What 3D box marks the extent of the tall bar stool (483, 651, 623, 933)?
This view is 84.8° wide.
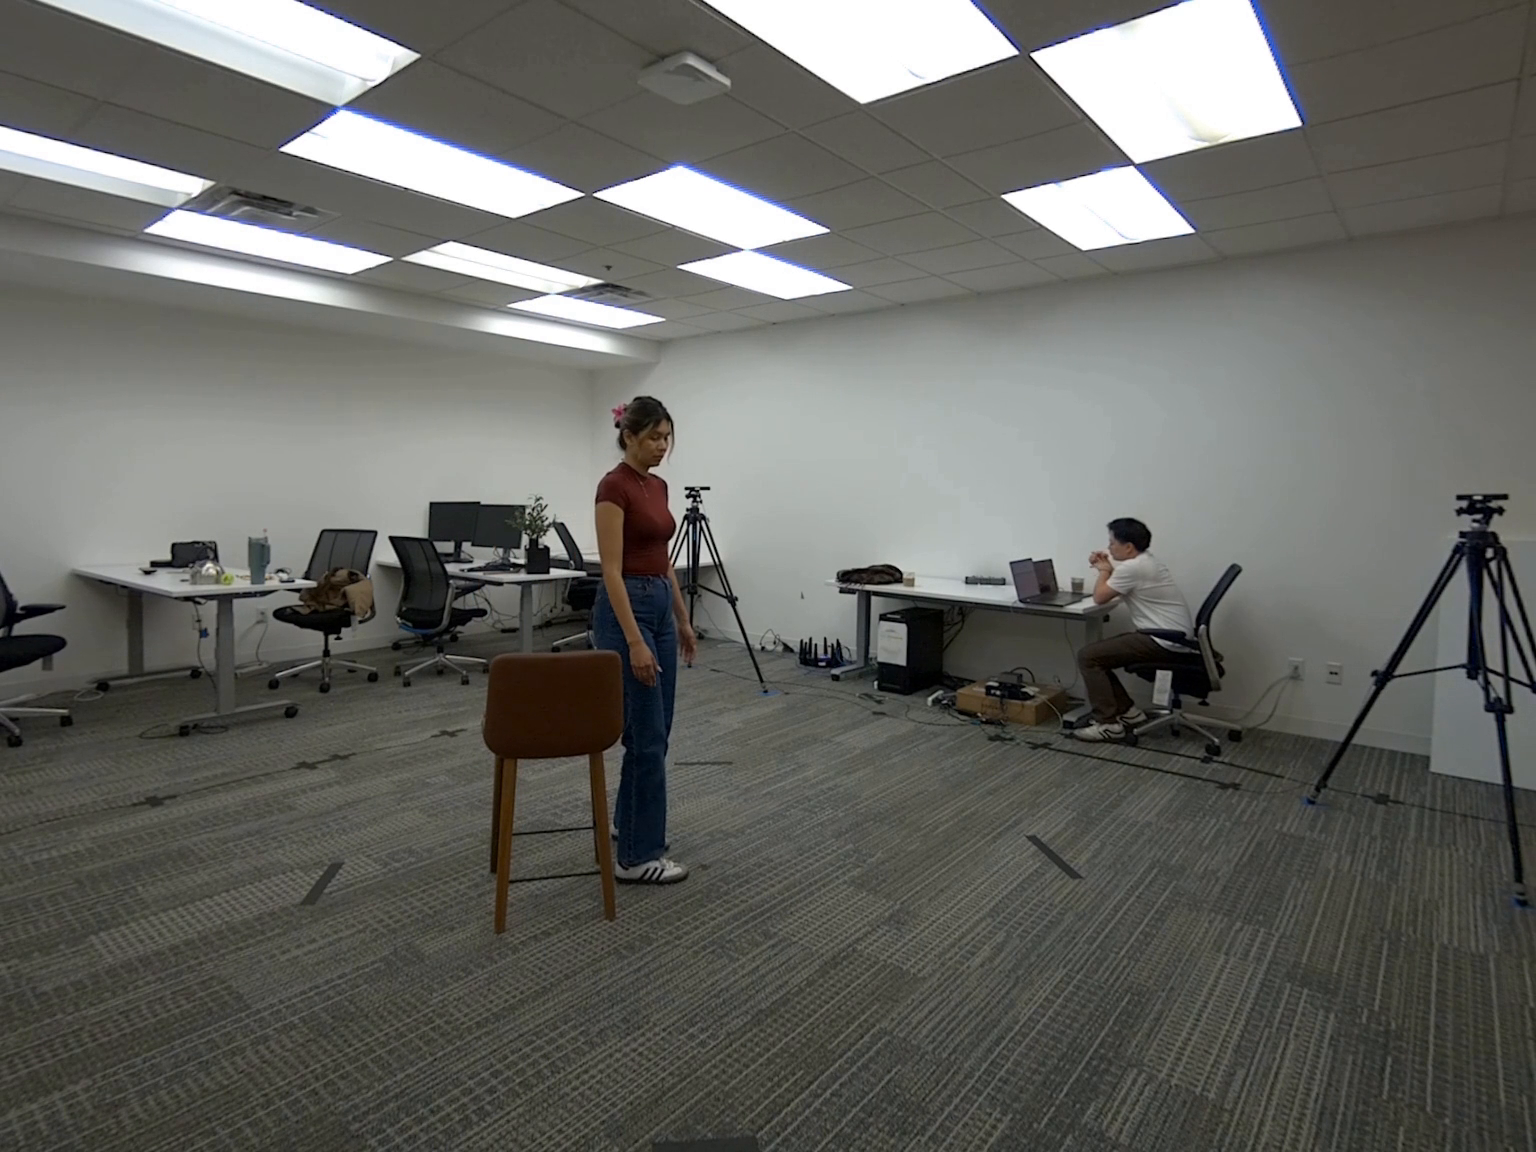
[{"bbox_3d":[-0.743,0.651,2.862,0.449,0.886,0.478,-1,5,-17],"label":"tall bar stool"}]
